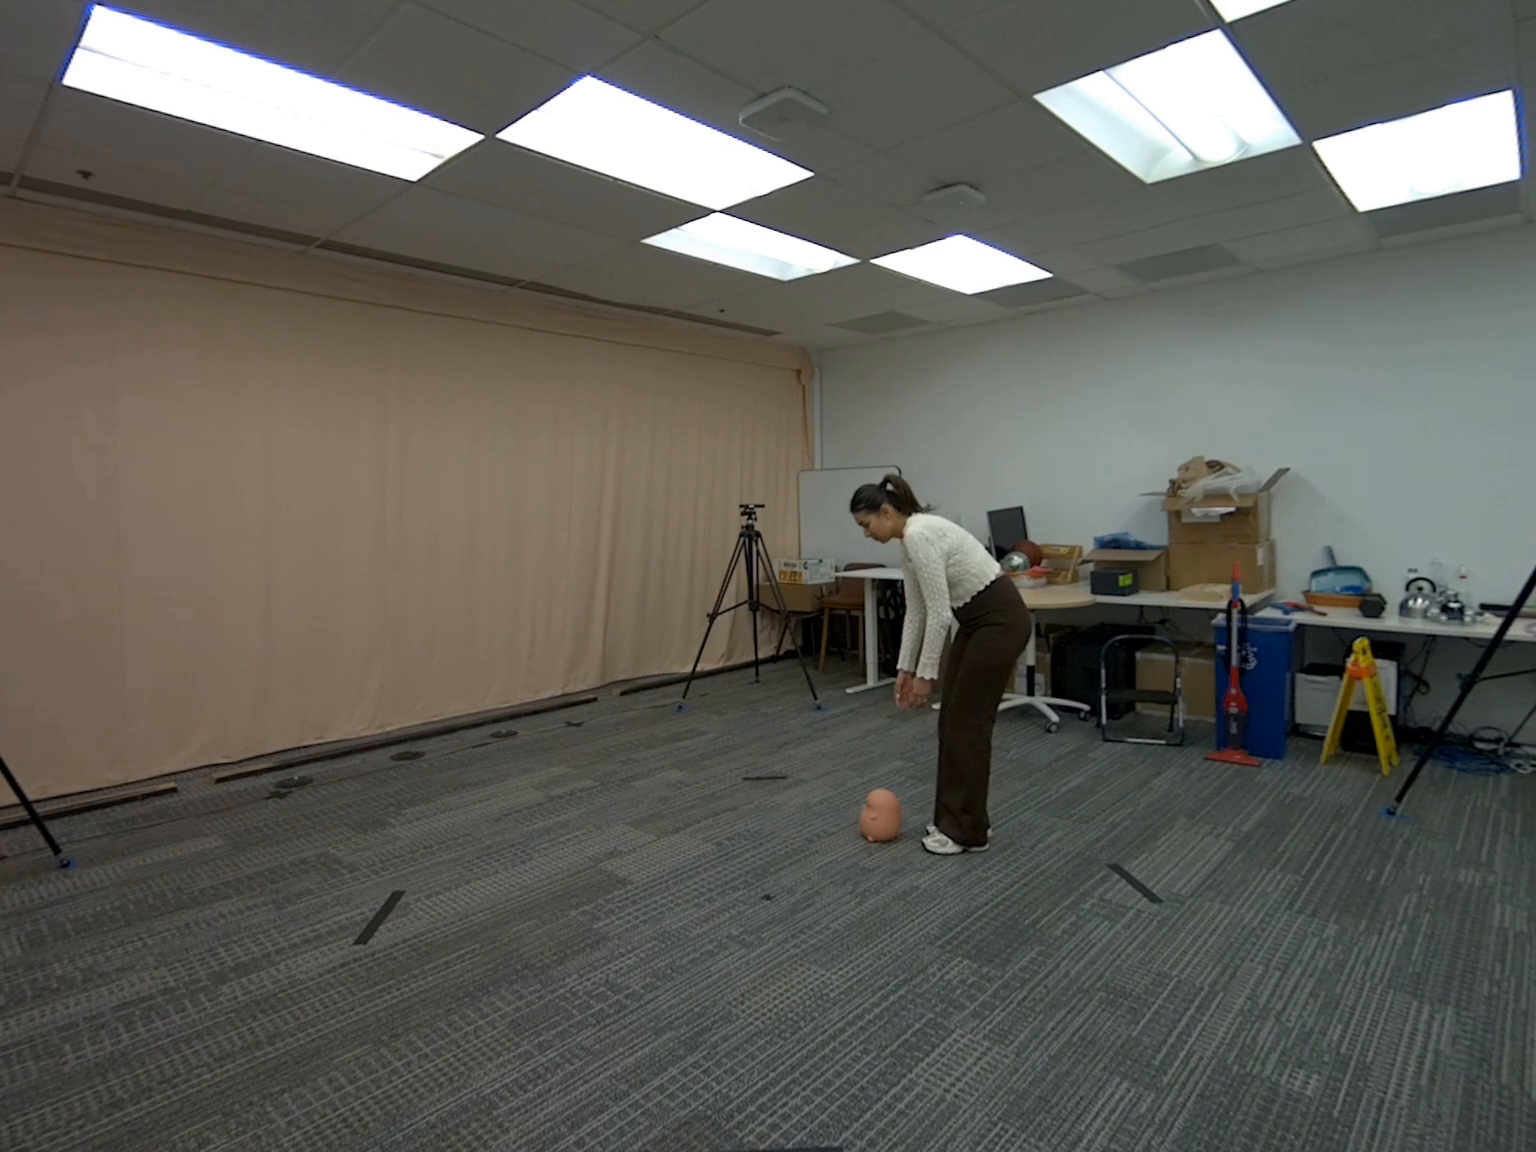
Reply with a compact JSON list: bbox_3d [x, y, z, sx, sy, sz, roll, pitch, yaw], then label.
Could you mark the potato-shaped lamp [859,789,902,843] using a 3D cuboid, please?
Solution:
[{"bbox_3d":[0.468,0.988,3.501,0.170,0.197,0.167,-1,4,-10],"label":"potato-shaped lamp"}]
